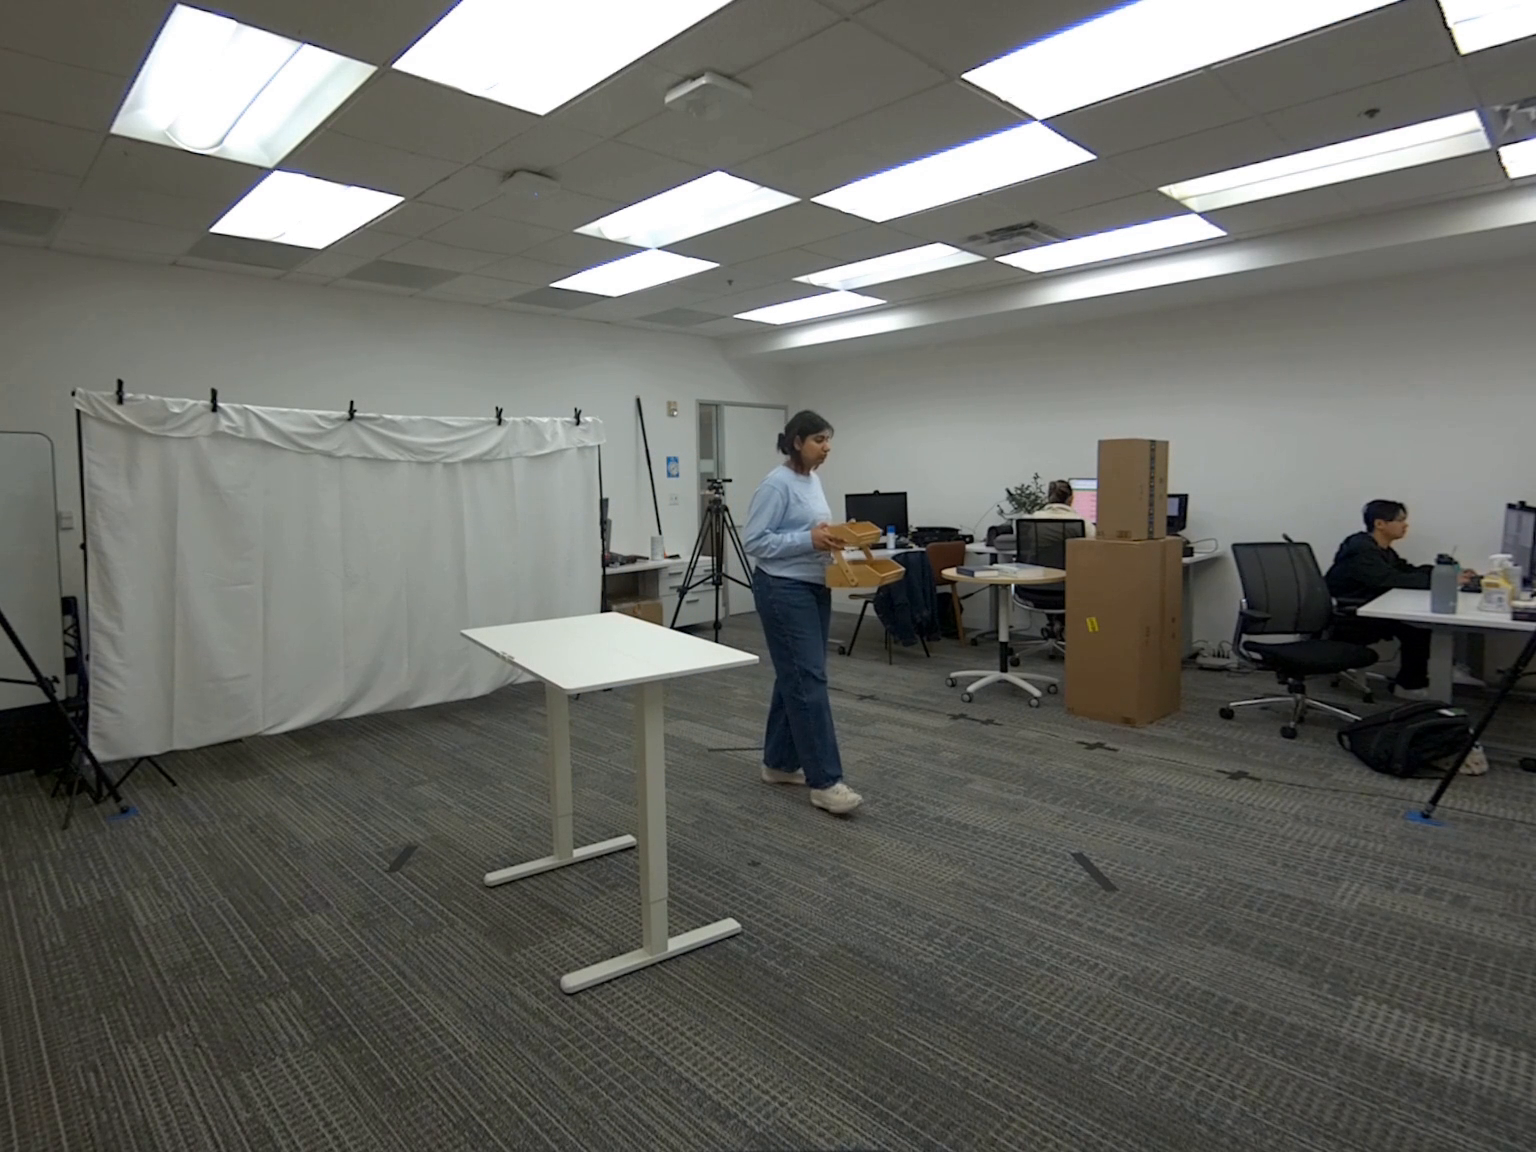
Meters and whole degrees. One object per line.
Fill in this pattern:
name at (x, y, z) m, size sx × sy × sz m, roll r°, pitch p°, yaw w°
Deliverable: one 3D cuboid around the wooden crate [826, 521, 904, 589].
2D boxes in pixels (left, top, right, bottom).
wooden crate at (0.397, -0.099, 3.731) m, size 0.309 × 0.273 × 0.317 m, roll -2°, pitch 4°, yaw 29°
